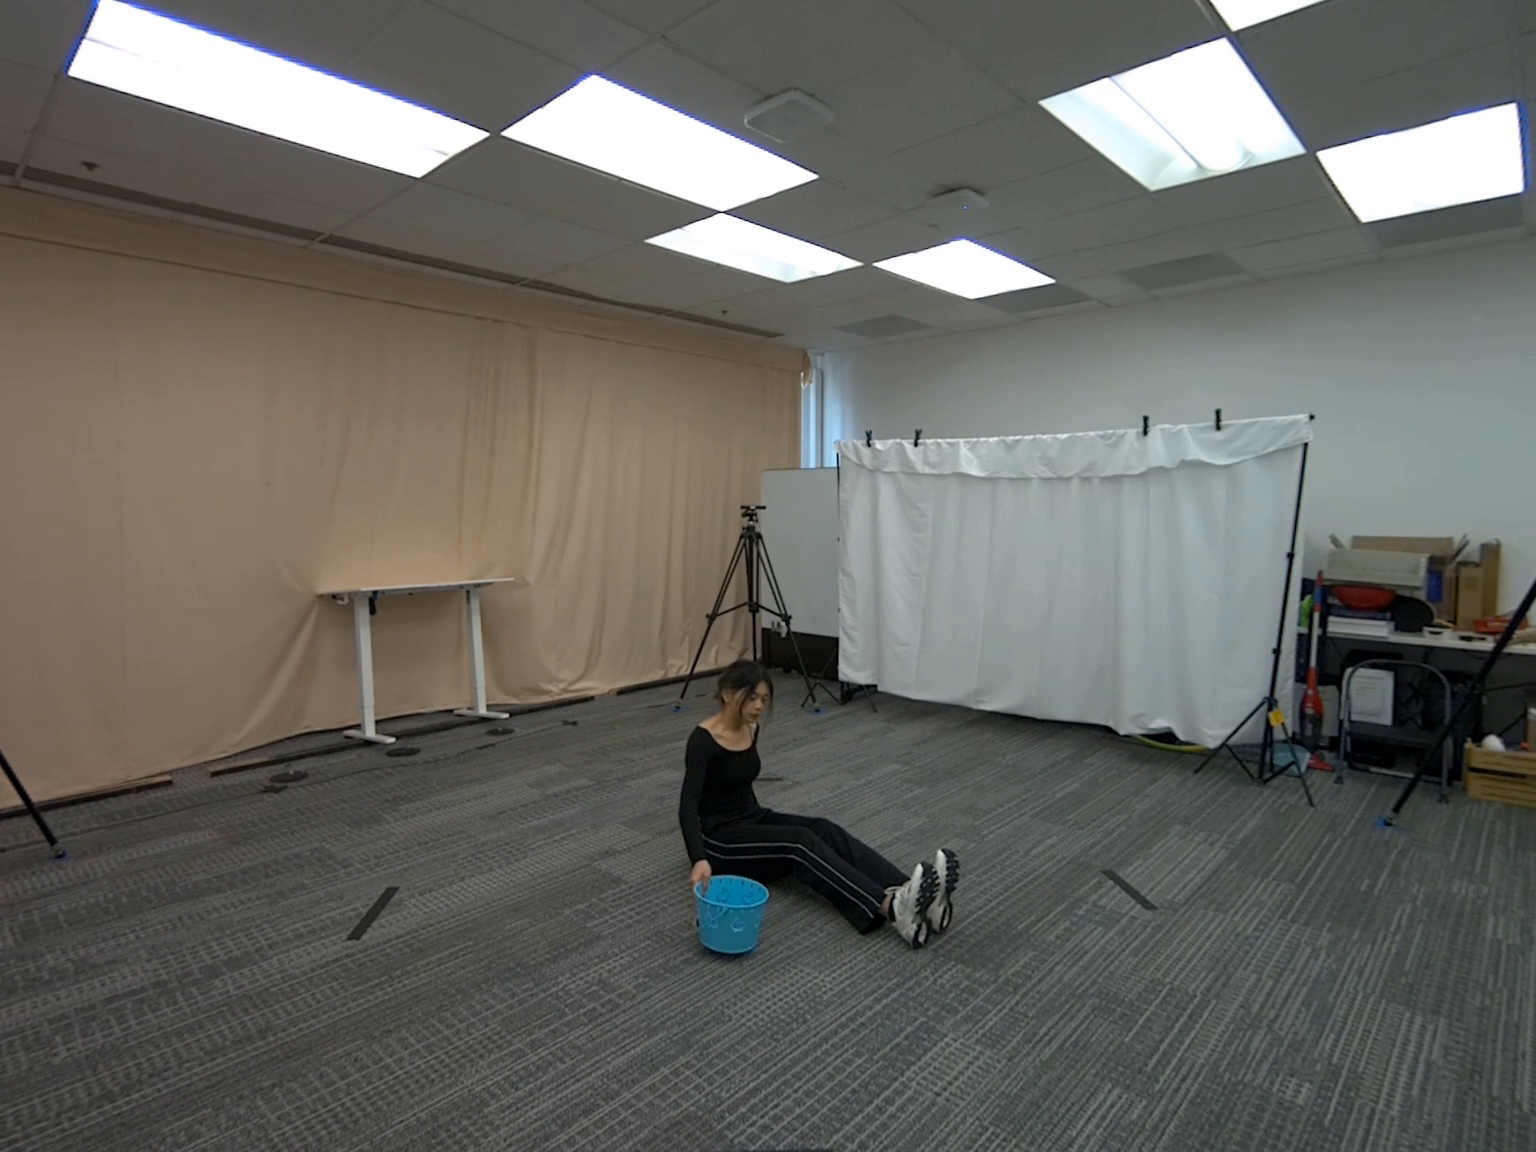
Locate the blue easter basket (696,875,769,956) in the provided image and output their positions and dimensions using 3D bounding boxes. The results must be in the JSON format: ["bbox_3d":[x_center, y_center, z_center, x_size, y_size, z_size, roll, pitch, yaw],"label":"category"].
[{"bbox_3d":[-0.121,1.053,2.647,0.243,0.155,0.244,3,3,-2],"label":"blue easter basket"}]
